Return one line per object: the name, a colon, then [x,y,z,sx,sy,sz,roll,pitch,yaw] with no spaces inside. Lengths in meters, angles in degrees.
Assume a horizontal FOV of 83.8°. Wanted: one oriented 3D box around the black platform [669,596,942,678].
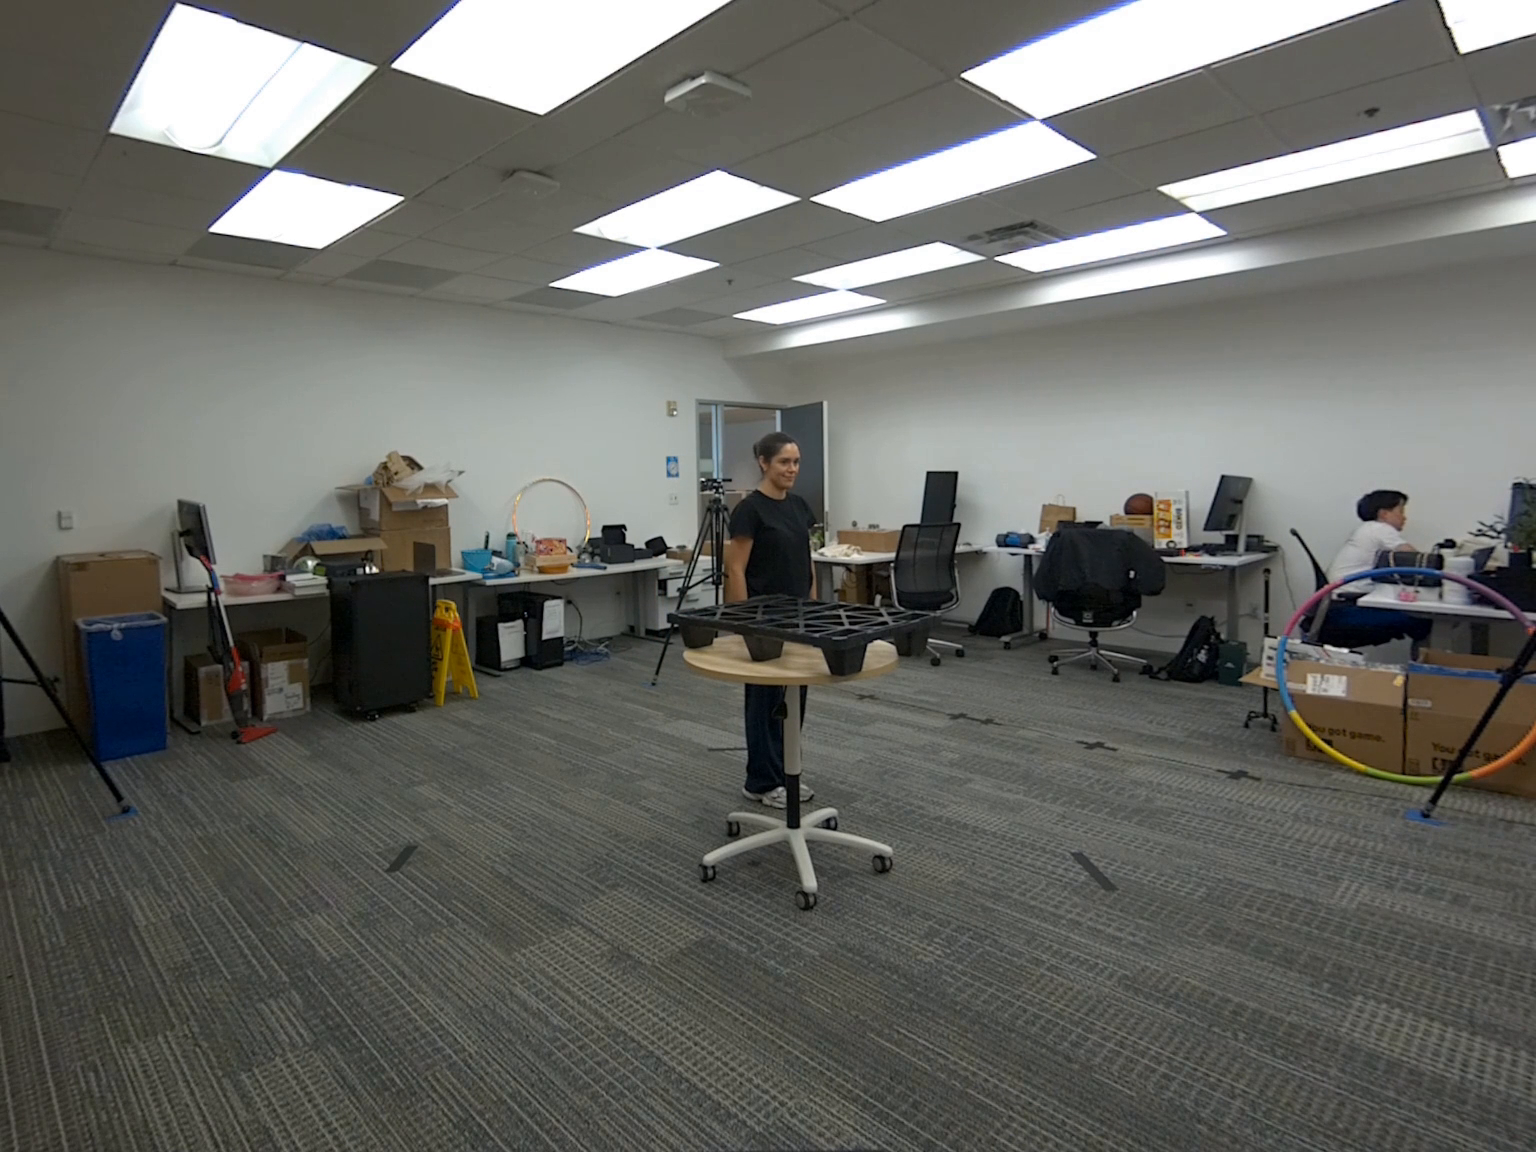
black platform: [0.117,0.202,3.075,0.830,0.142,0.590,5,9,44]
